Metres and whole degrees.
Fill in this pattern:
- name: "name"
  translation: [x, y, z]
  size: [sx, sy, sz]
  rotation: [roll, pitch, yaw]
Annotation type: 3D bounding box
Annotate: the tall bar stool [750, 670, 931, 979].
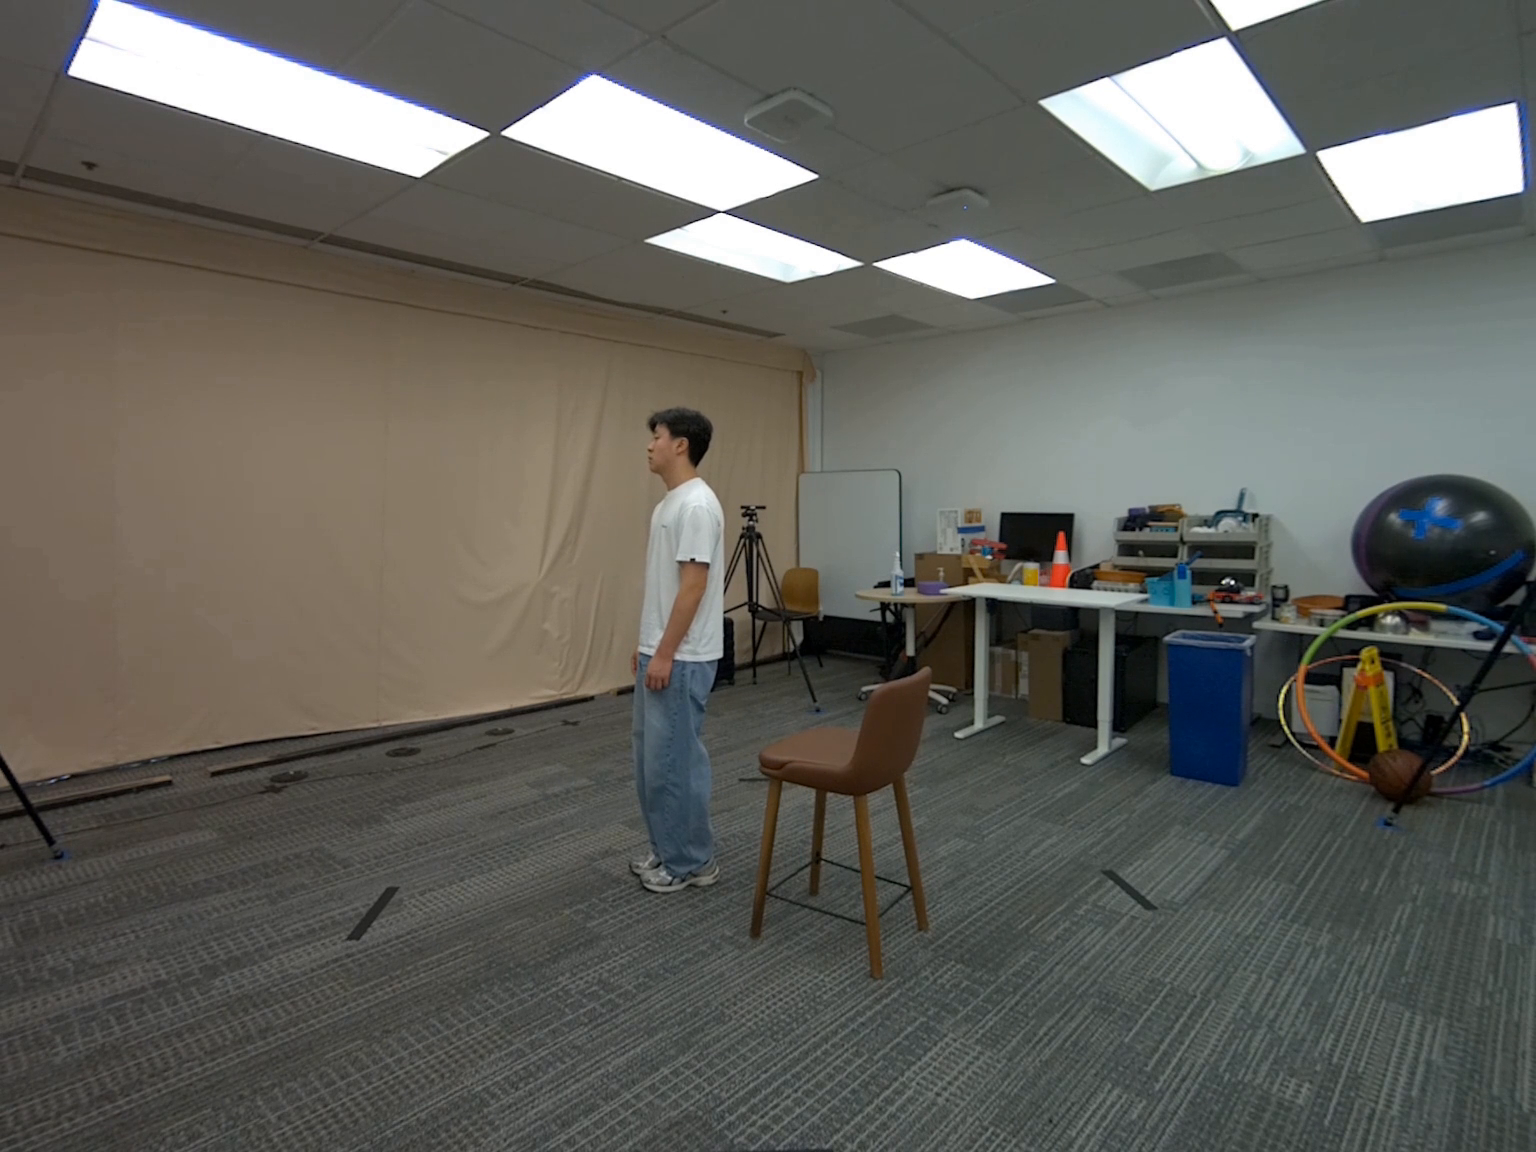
- name: "tall bar stool"
  translation: [0.244, 0.728, 2.721]
  size: [0.483, 0.887, 0.443]
  rotation: [5, 6, 35]
